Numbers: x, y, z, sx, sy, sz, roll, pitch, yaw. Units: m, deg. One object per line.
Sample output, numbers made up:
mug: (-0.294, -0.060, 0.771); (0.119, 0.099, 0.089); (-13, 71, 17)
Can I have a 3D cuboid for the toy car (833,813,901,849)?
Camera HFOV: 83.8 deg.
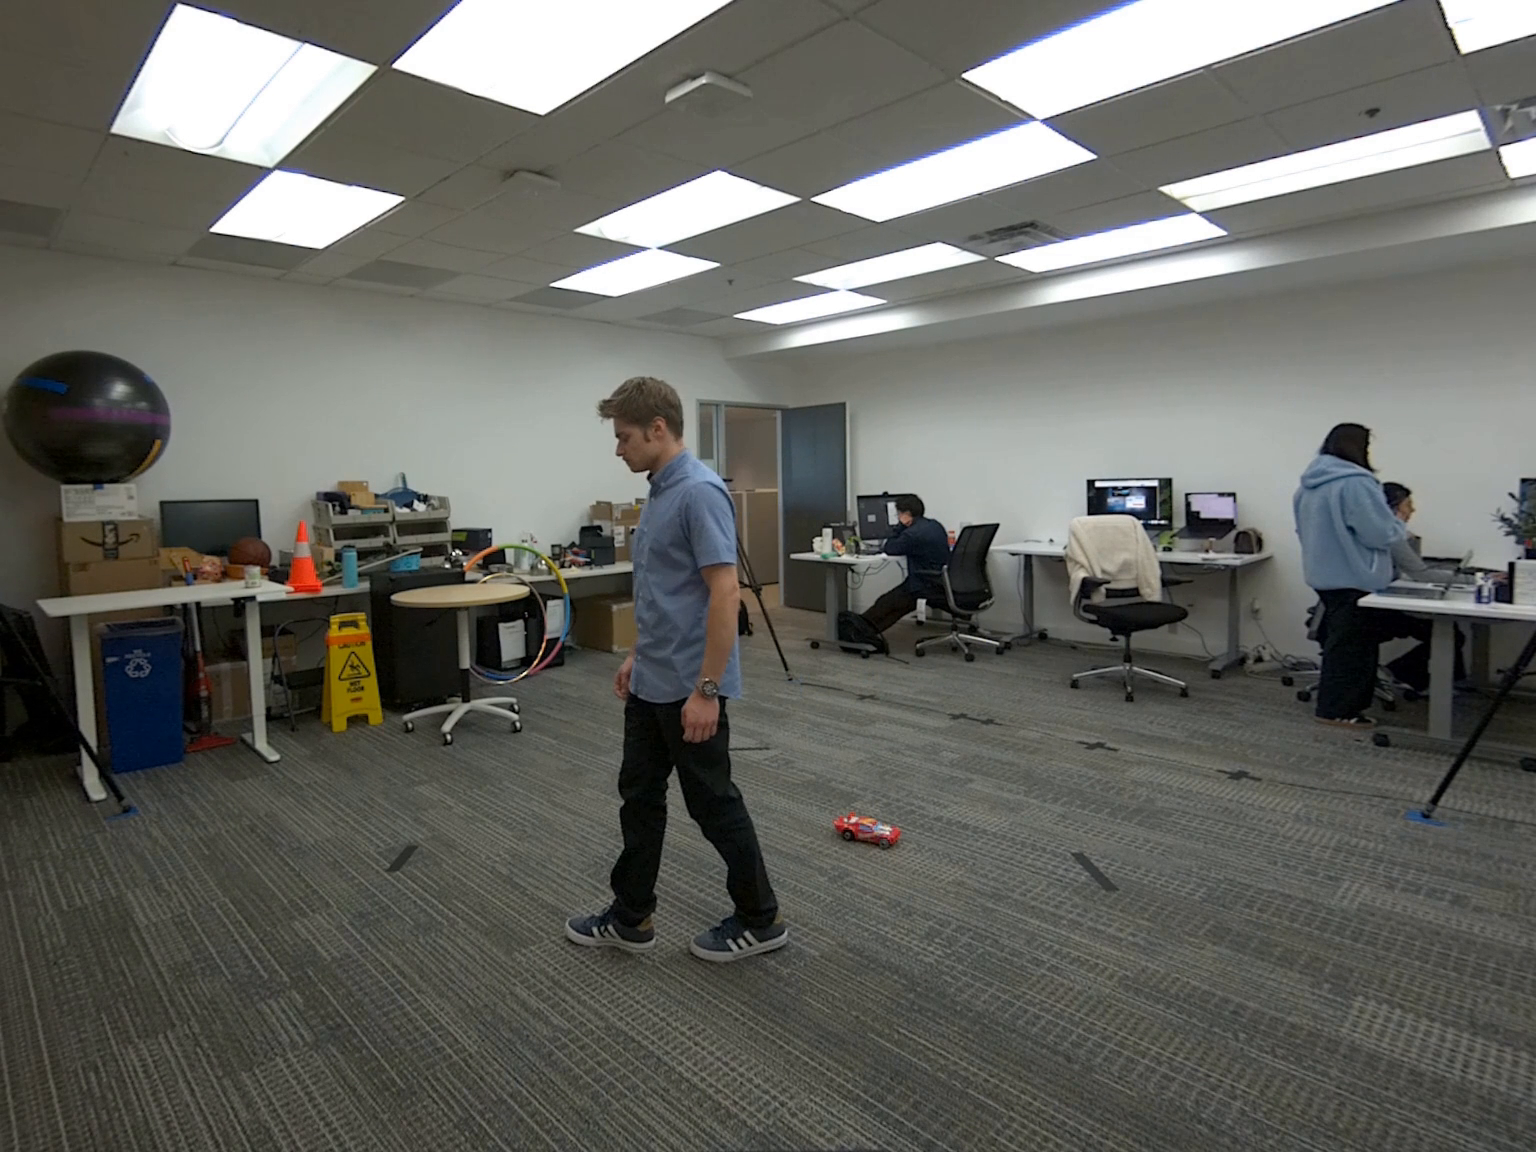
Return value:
toy car: (0.380, 0.983, 3.301); (0.262, 0.082, 0.127); (16, 13, 30)
